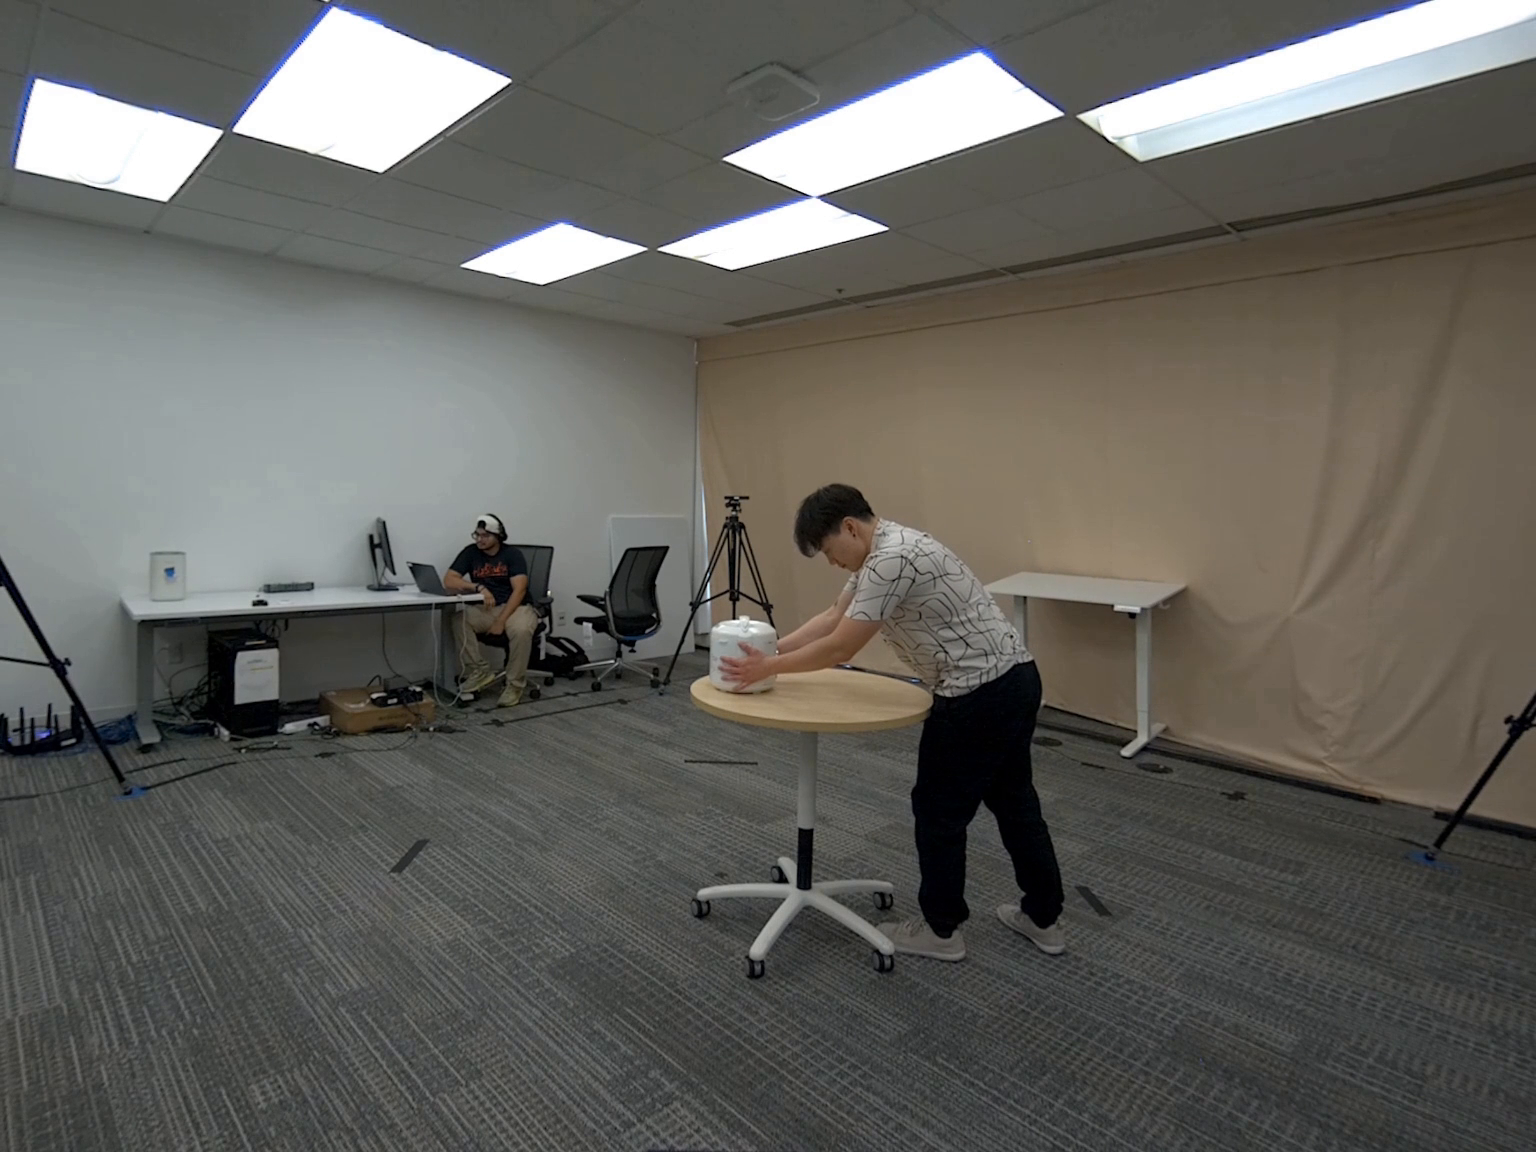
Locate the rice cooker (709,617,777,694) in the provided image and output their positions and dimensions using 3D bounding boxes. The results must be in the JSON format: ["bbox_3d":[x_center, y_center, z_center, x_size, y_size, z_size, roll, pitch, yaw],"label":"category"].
[{"bbox_3d":[-0.079,0.243,2.692,0.217,0.232,0.222,0,5,-3],"label":"rice cooker"}]
